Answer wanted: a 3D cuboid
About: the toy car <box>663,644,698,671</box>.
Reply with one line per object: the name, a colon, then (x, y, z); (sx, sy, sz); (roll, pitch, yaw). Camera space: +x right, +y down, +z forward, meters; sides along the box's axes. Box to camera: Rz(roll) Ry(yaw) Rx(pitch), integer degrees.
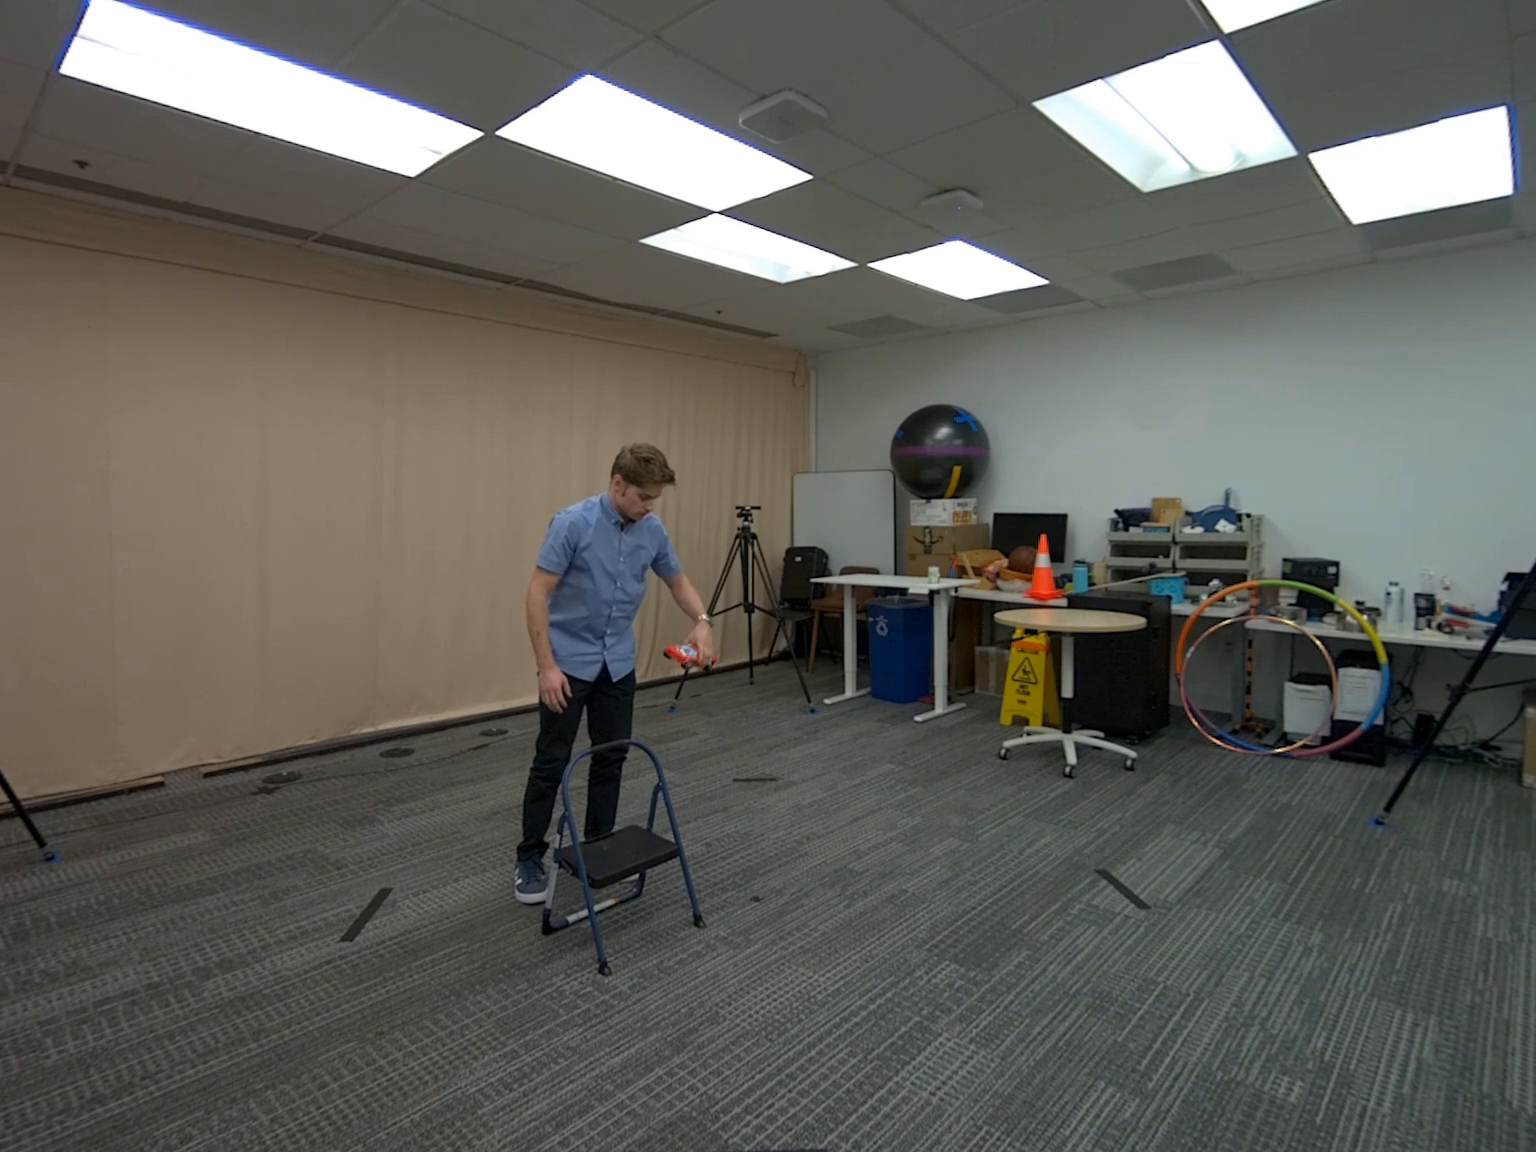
toy car: (-0.276, 0.317, 3.145); (0.134, 0.083, 0.247); (28, 15, 28)
